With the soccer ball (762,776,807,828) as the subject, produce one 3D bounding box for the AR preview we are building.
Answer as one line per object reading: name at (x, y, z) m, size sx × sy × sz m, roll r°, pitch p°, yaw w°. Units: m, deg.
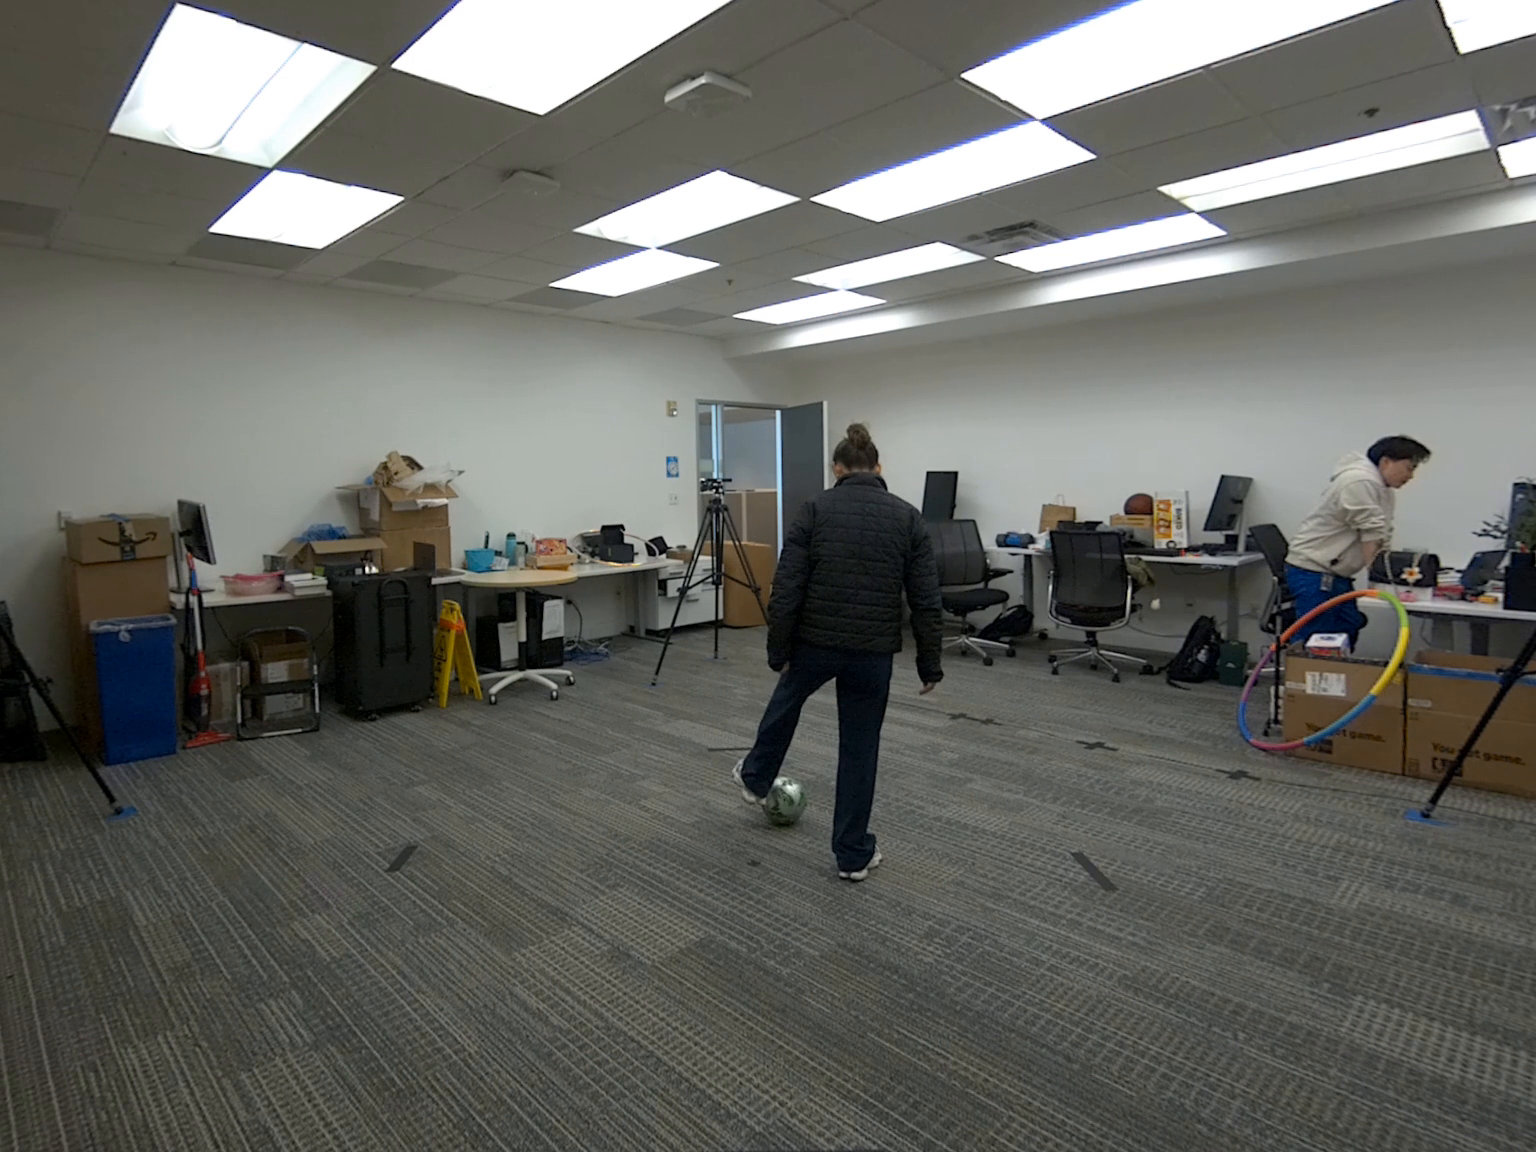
soccer ball at (0.065, 0.906, 3.467) m, size 0.187 × 0.187 × 0.188 m, roll -1°, pitch 5°, yaw -2°
